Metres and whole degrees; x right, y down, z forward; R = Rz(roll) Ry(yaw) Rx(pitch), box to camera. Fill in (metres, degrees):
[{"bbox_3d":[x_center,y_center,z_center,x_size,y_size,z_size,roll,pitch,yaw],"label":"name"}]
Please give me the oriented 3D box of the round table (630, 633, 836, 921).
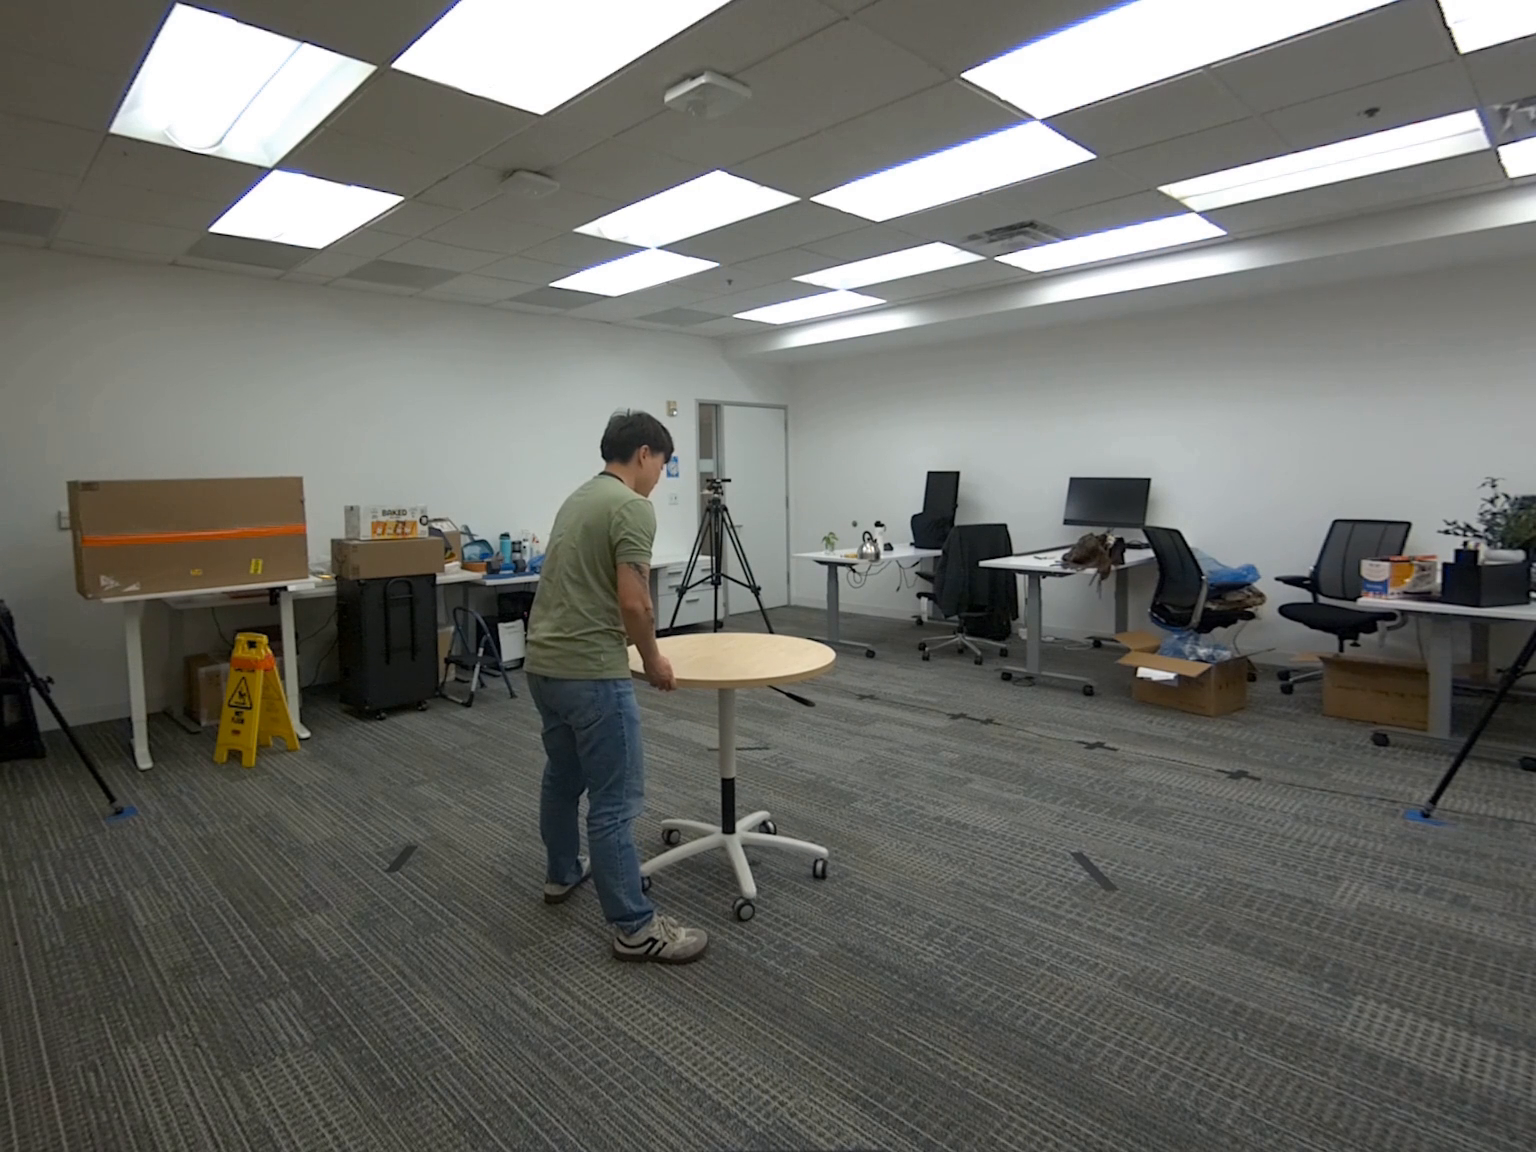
[{"bbox_3d":[-0.138,0.665,3.025,0.763,0.791,0.768,-1,5,-2],"label":"round table"}]
